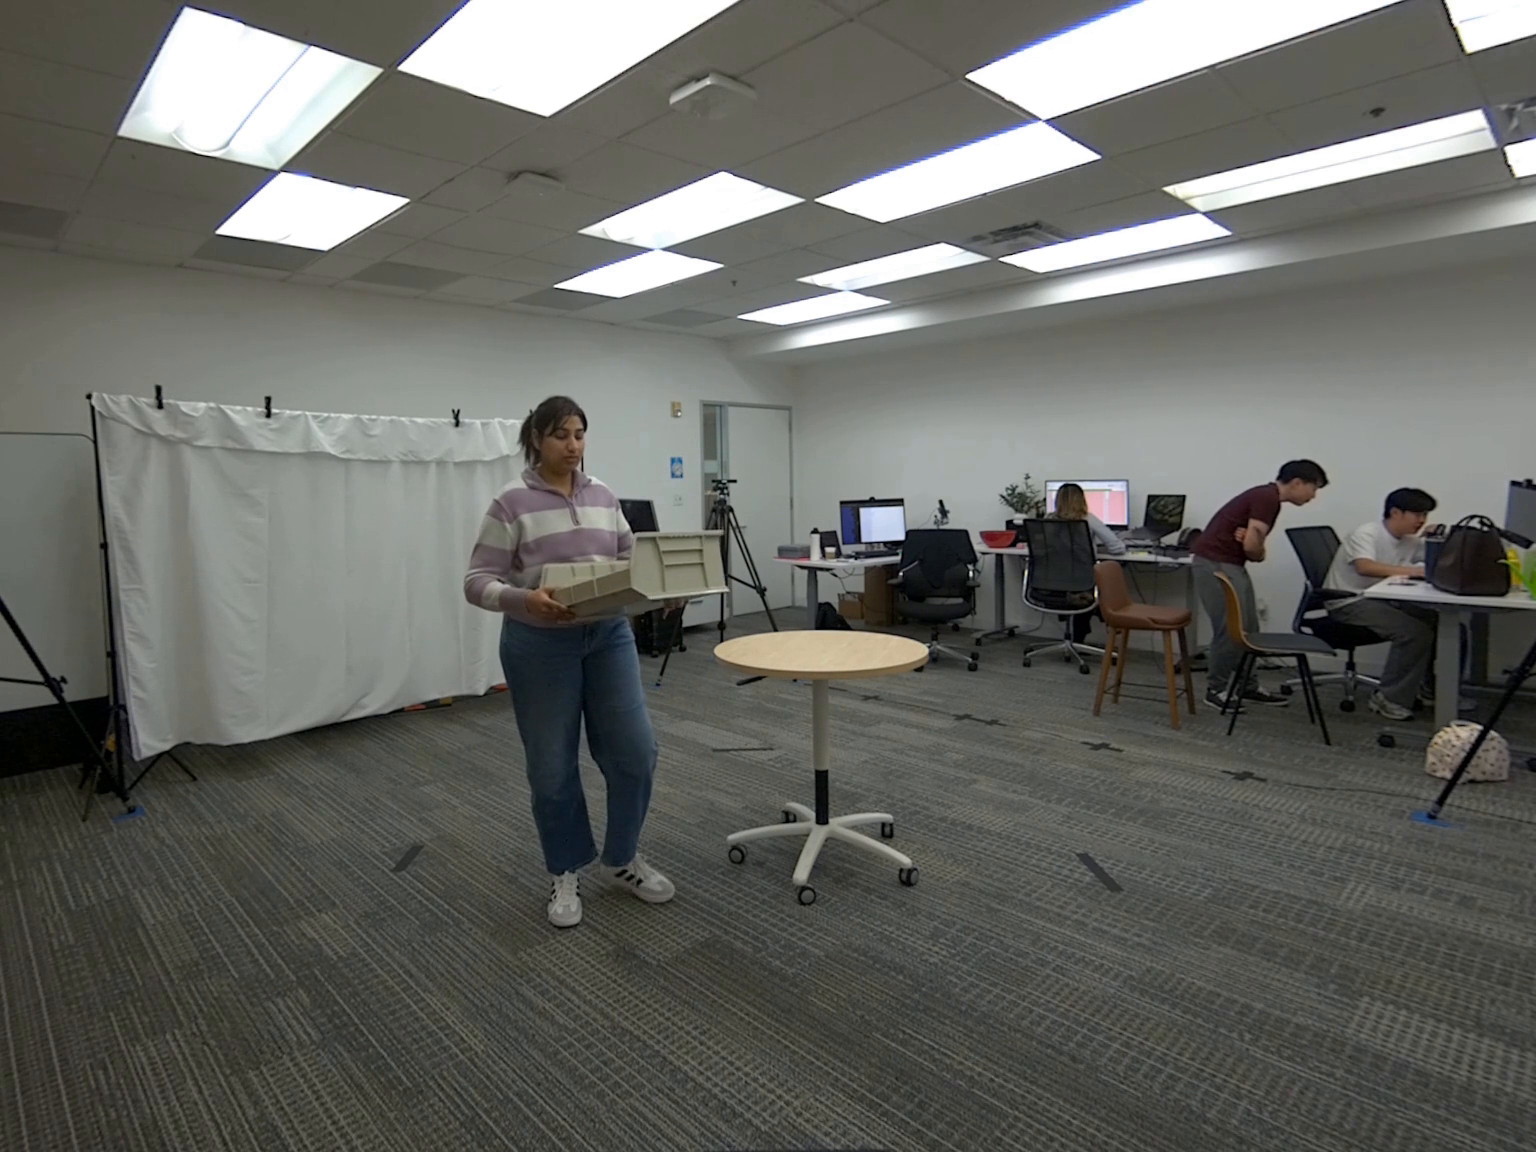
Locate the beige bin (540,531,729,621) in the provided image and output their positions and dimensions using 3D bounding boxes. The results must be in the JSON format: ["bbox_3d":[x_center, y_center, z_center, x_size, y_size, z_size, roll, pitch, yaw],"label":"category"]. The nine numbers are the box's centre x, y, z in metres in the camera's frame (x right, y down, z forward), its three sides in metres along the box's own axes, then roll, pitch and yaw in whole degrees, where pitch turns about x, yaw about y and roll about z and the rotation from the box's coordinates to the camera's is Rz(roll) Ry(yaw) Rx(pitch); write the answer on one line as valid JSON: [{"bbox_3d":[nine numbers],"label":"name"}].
[{"bbox_3d":[-0.385,0.011,2.462,0.431,0.190,0.367,-14,-7,41],"label":"beige bin"}]
